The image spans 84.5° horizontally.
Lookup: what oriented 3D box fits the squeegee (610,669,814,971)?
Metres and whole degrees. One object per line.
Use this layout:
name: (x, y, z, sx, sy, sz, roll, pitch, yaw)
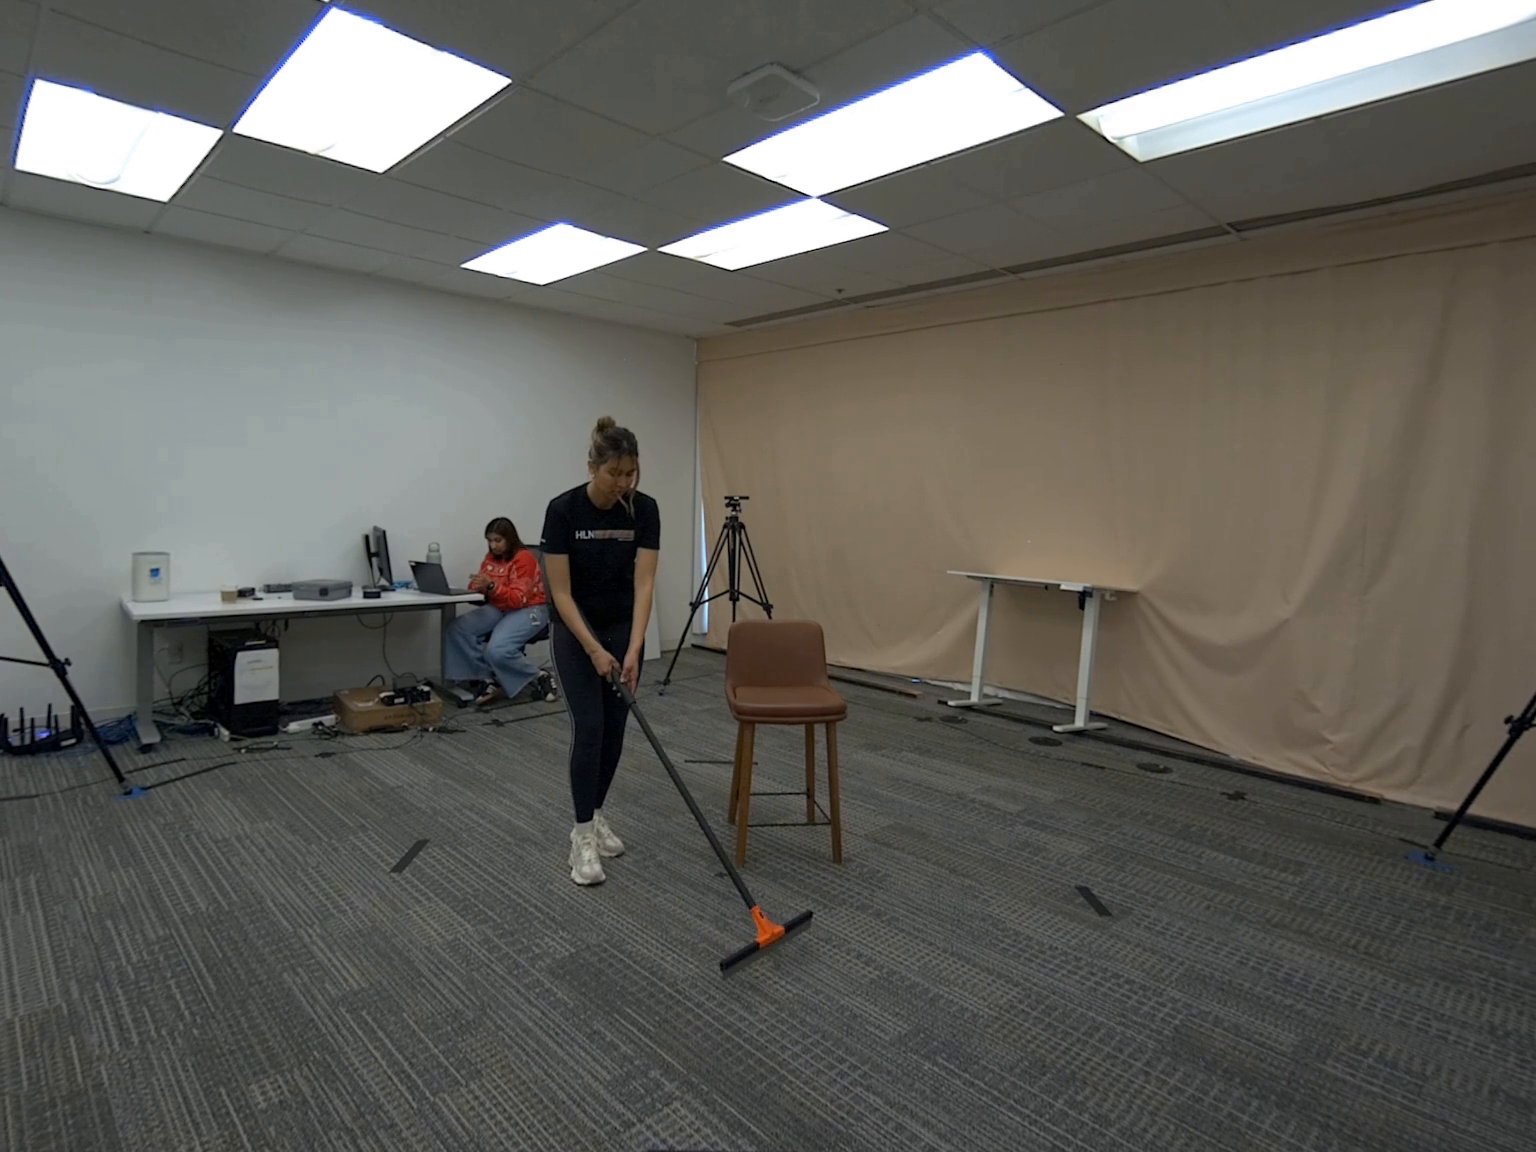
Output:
squeegee: (-0.418, 0.520, 2.828, 0.428, 0.053, 1.575, -3, 49, -52)
